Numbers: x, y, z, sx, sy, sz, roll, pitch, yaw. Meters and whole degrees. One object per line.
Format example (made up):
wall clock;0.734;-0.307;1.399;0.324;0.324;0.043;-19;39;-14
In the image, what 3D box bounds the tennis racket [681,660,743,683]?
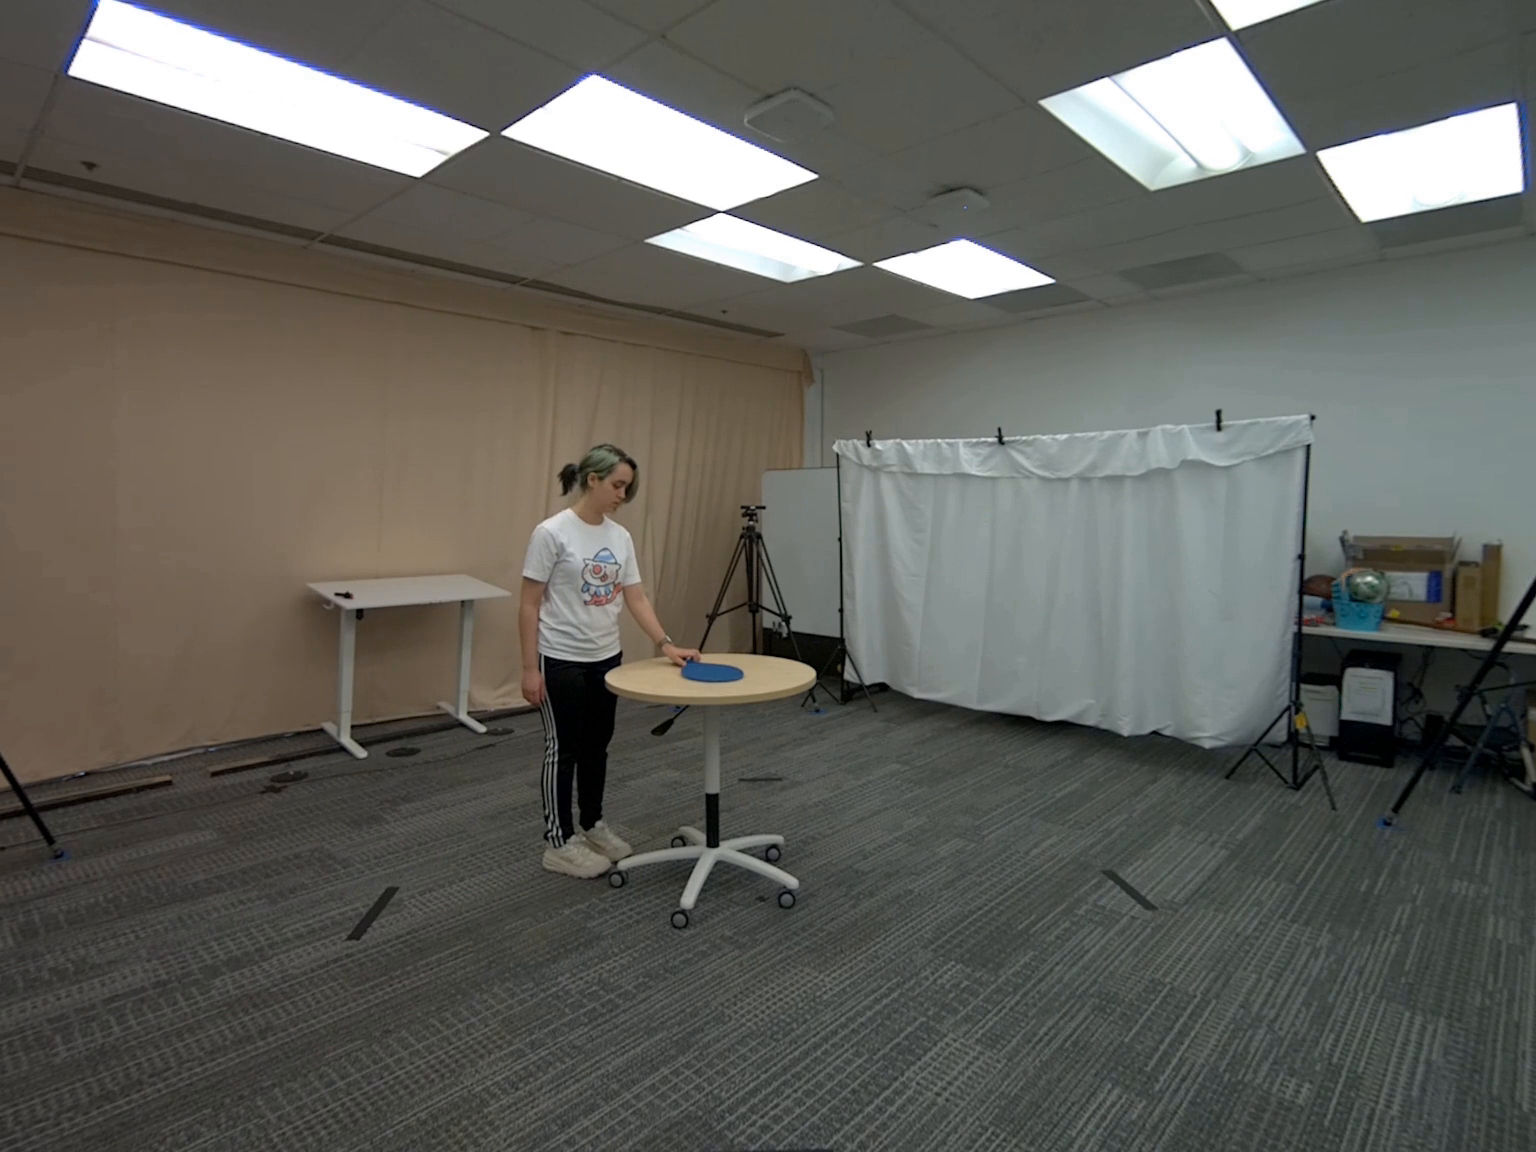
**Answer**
tennis racket;-0.248;0.341;3.085;0.207;0.031;0.447;-3;7;-35
